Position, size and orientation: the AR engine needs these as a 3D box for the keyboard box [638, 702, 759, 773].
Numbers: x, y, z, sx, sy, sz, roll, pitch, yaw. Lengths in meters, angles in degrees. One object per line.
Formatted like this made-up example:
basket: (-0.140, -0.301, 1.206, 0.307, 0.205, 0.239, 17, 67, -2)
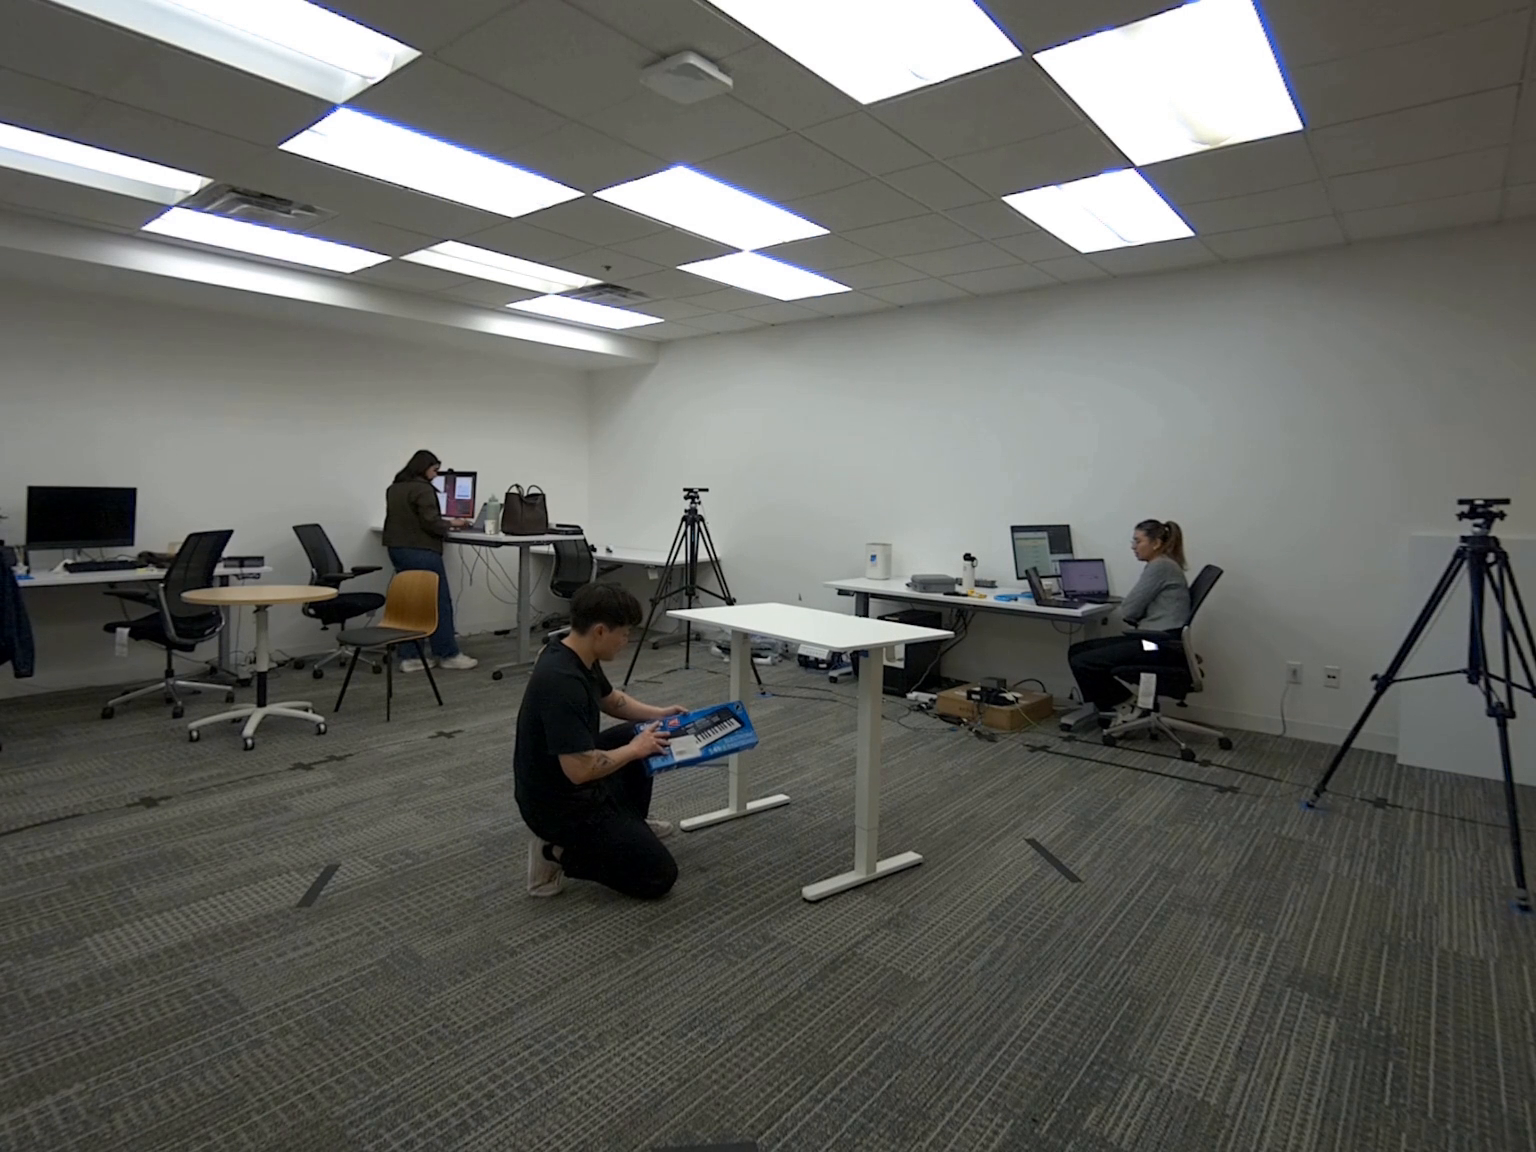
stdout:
keyboard box: (-0.267, 0.583, 3.023, 0.426, 0.182, 0.058, -9, -33, -30)
